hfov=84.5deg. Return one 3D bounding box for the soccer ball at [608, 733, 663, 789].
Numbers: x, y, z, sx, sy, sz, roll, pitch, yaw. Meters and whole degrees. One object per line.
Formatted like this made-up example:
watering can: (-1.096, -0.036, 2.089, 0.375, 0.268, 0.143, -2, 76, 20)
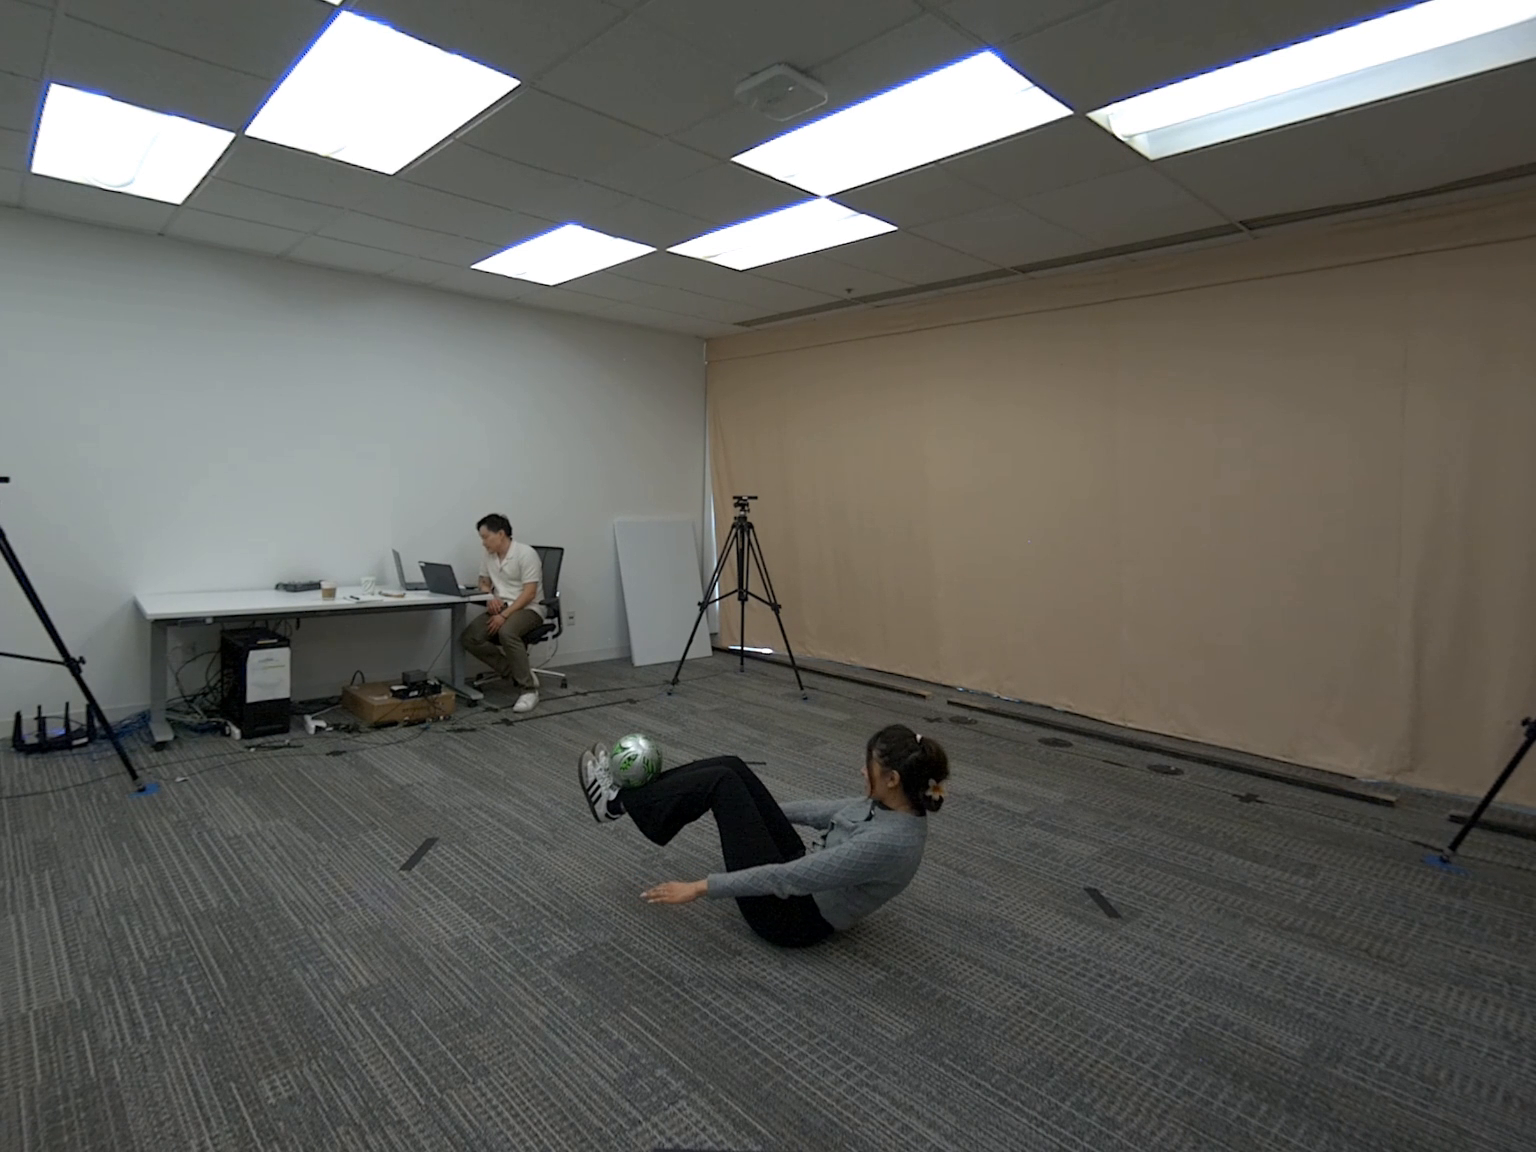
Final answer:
soccer ball: (-0.467, 0.642, 2.893, 0.187, 0.187, 0.188, 1, 4, -1)
